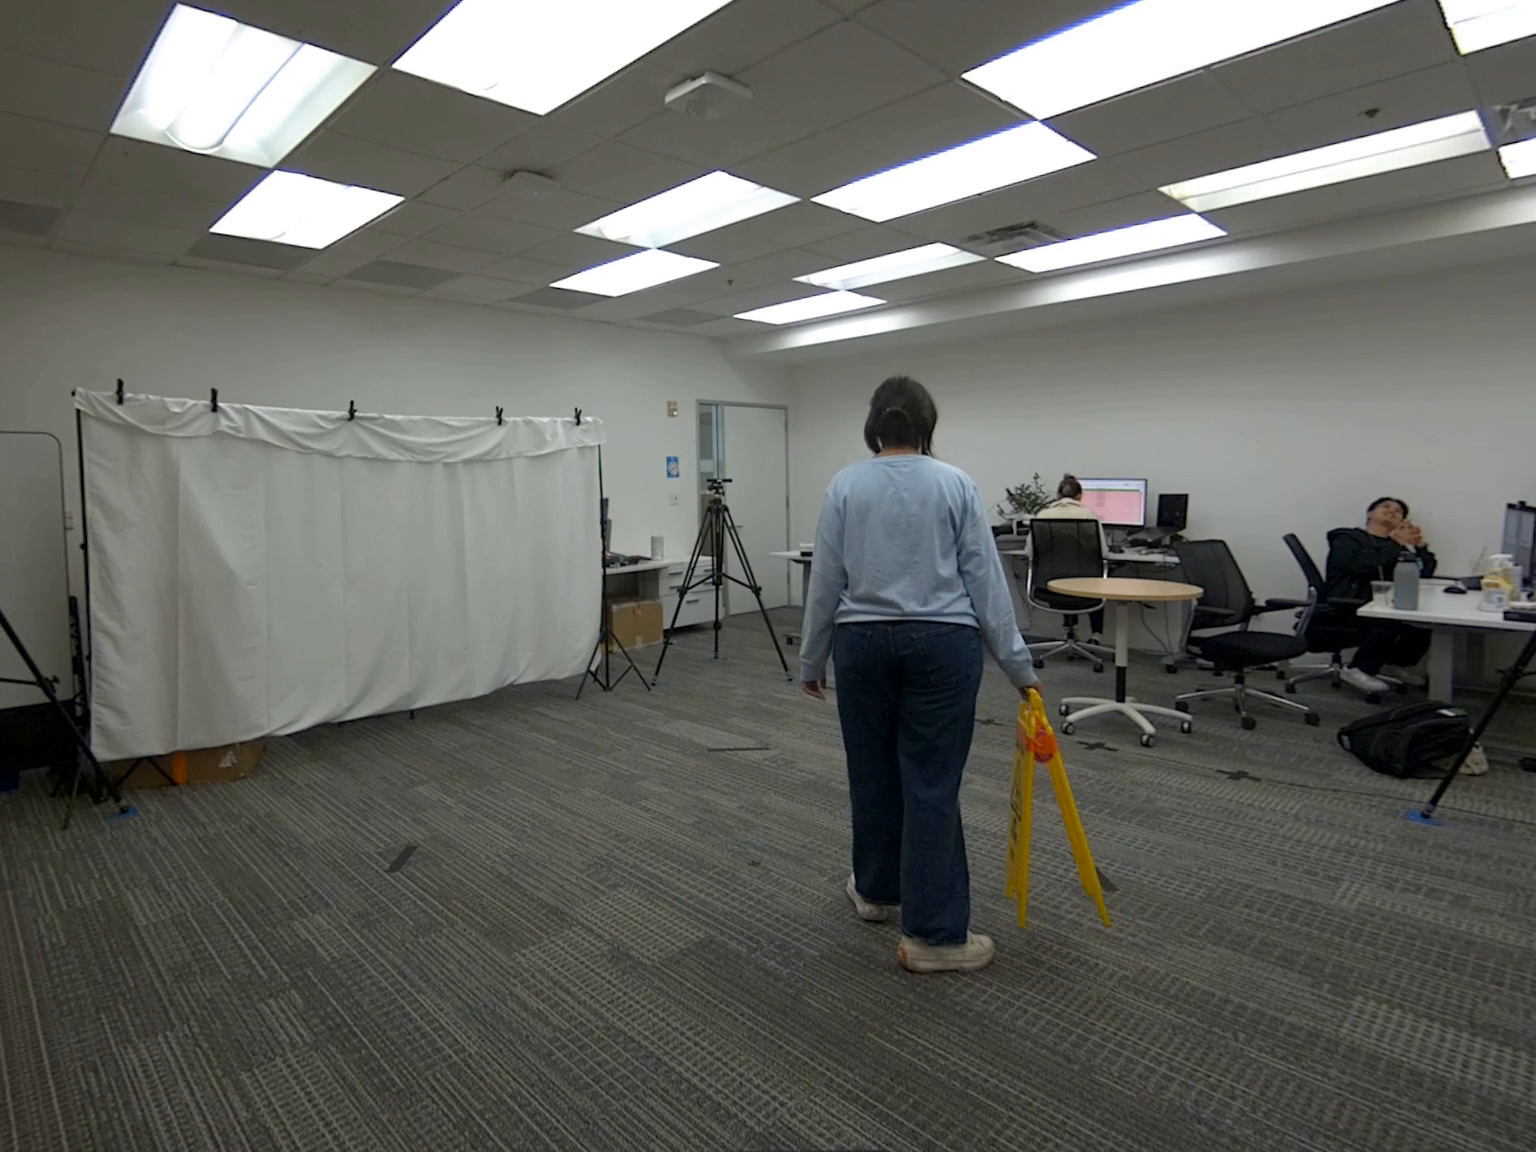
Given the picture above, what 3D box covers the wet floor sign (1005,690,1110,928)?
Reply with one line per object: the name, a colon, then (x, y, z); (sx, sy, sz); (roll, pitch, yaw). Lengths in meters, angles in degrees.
wet floor sign: (0.804, 0.649, 2.511); (0.292, 0.648, 0.279); (-6, -2, 9)
